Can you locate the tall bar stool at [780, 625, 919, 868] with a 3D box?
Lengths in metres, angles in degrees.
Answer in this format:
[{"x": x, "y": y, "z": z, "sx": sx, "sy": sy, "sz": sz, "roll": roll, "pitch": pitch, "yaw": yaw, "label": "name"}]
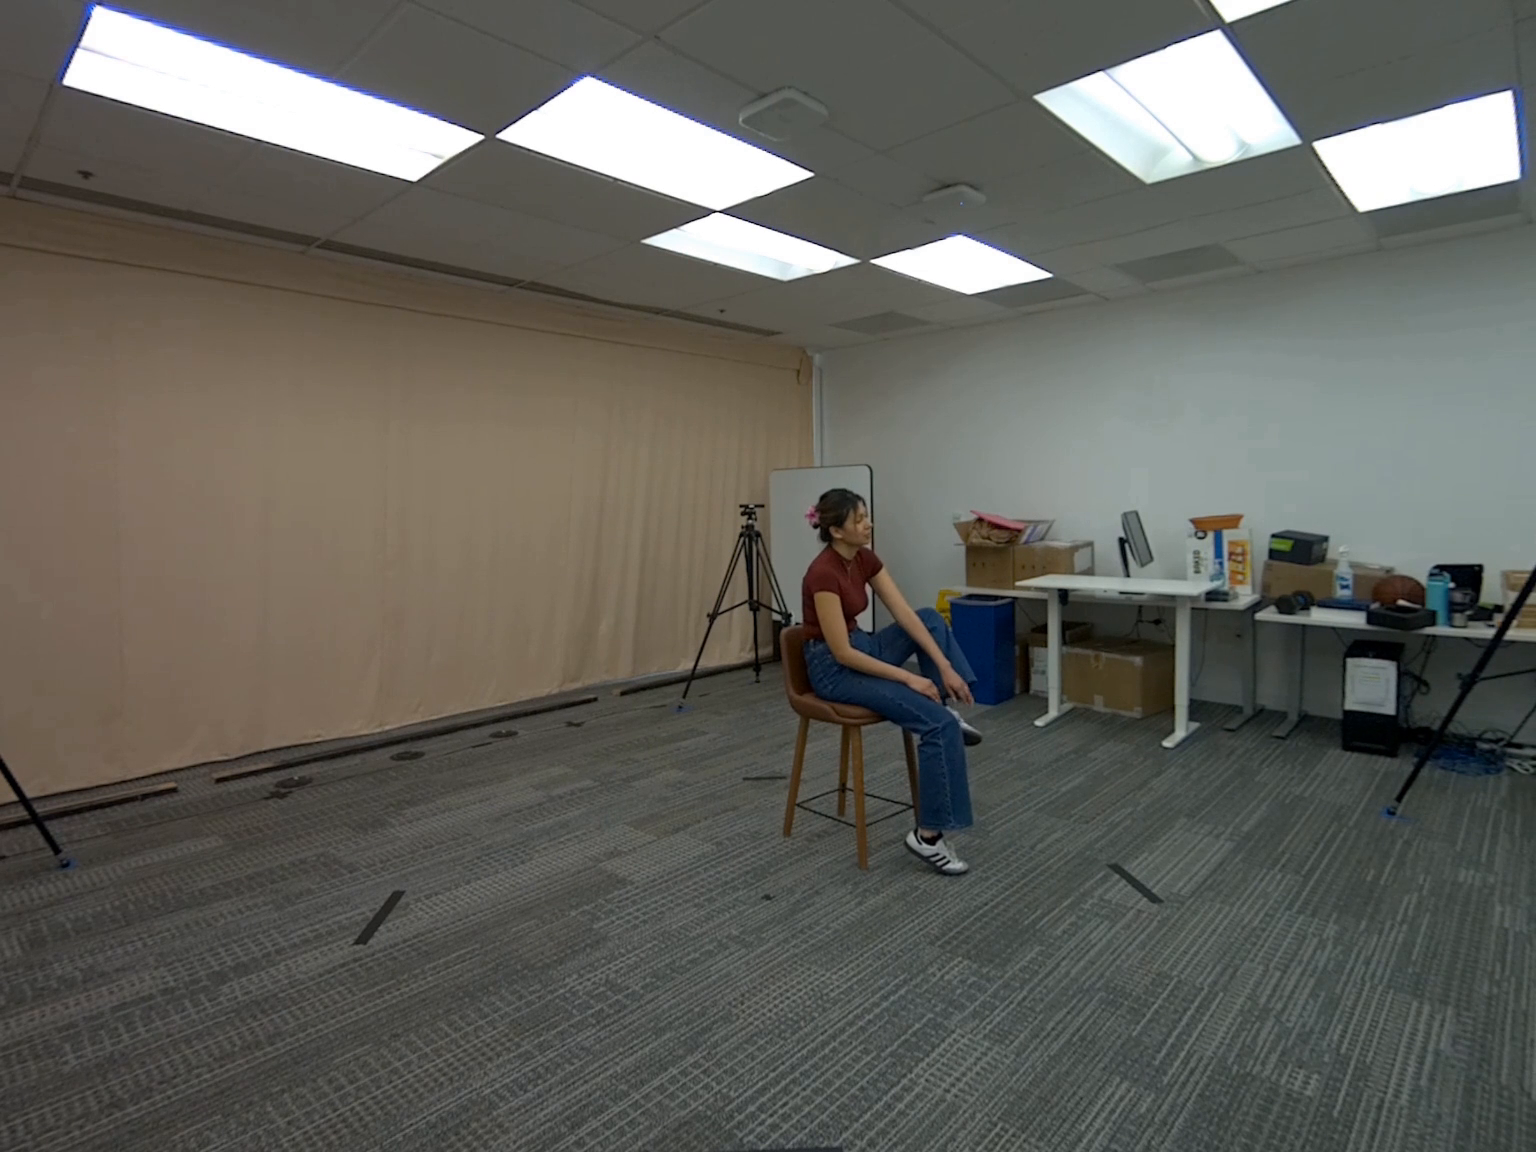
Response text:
[{"x": 0.342, "y": 0.658, "z": 3.485, "sx": 0.442, "sy": 0.889, "sz": 0.482, "roll": -3, "pitch": 2, "yaw": -43, "label": "tall bar stool"}]
